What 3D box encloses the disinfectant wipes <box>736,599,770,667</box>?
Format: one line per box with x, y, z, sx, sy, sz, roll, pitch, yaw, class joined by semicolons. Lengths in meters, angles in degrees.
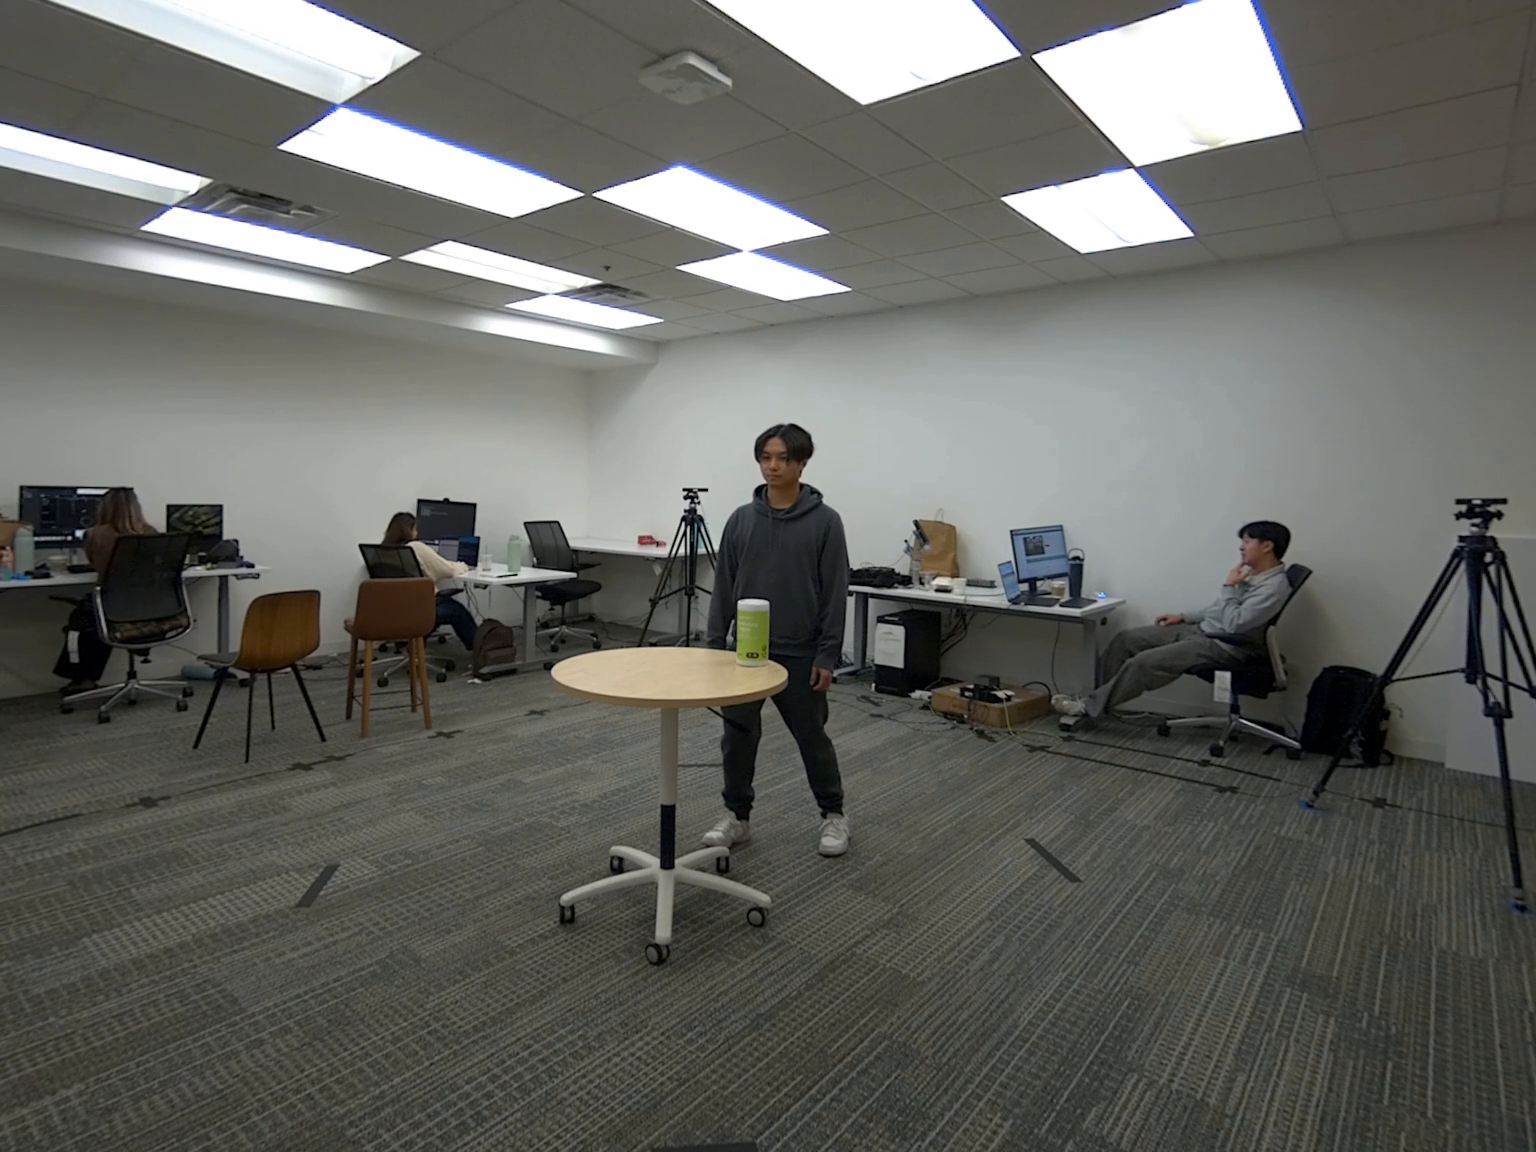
-0.055;0.182;2.887;0.117;0.216;0.118;5;5;-2;disinfectant wipes
